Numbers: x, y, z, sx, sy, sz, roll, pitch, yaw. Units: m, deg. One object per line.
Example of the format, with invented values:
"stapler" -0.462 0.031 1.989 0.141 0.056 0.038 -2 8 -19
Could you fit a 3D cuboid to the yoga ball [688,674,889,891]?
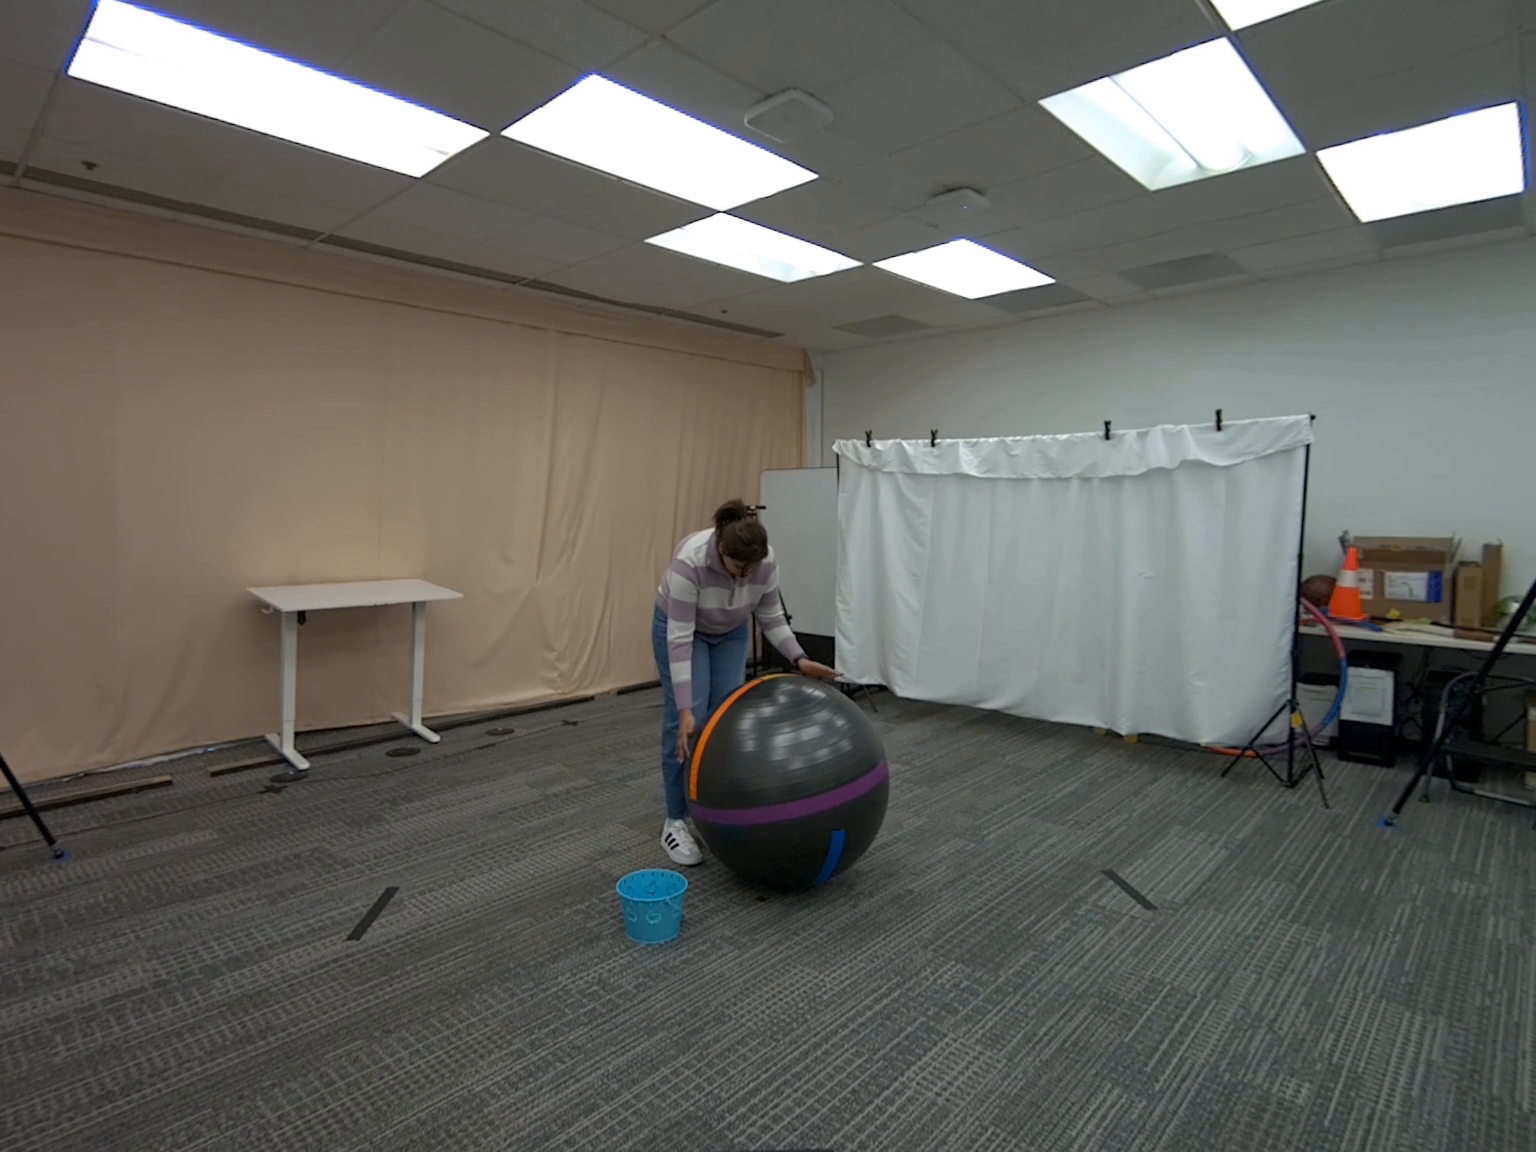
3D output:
"yoga ball" 0.075 0.760 3.132 0.757 0.756 0.760 0 4 -2
